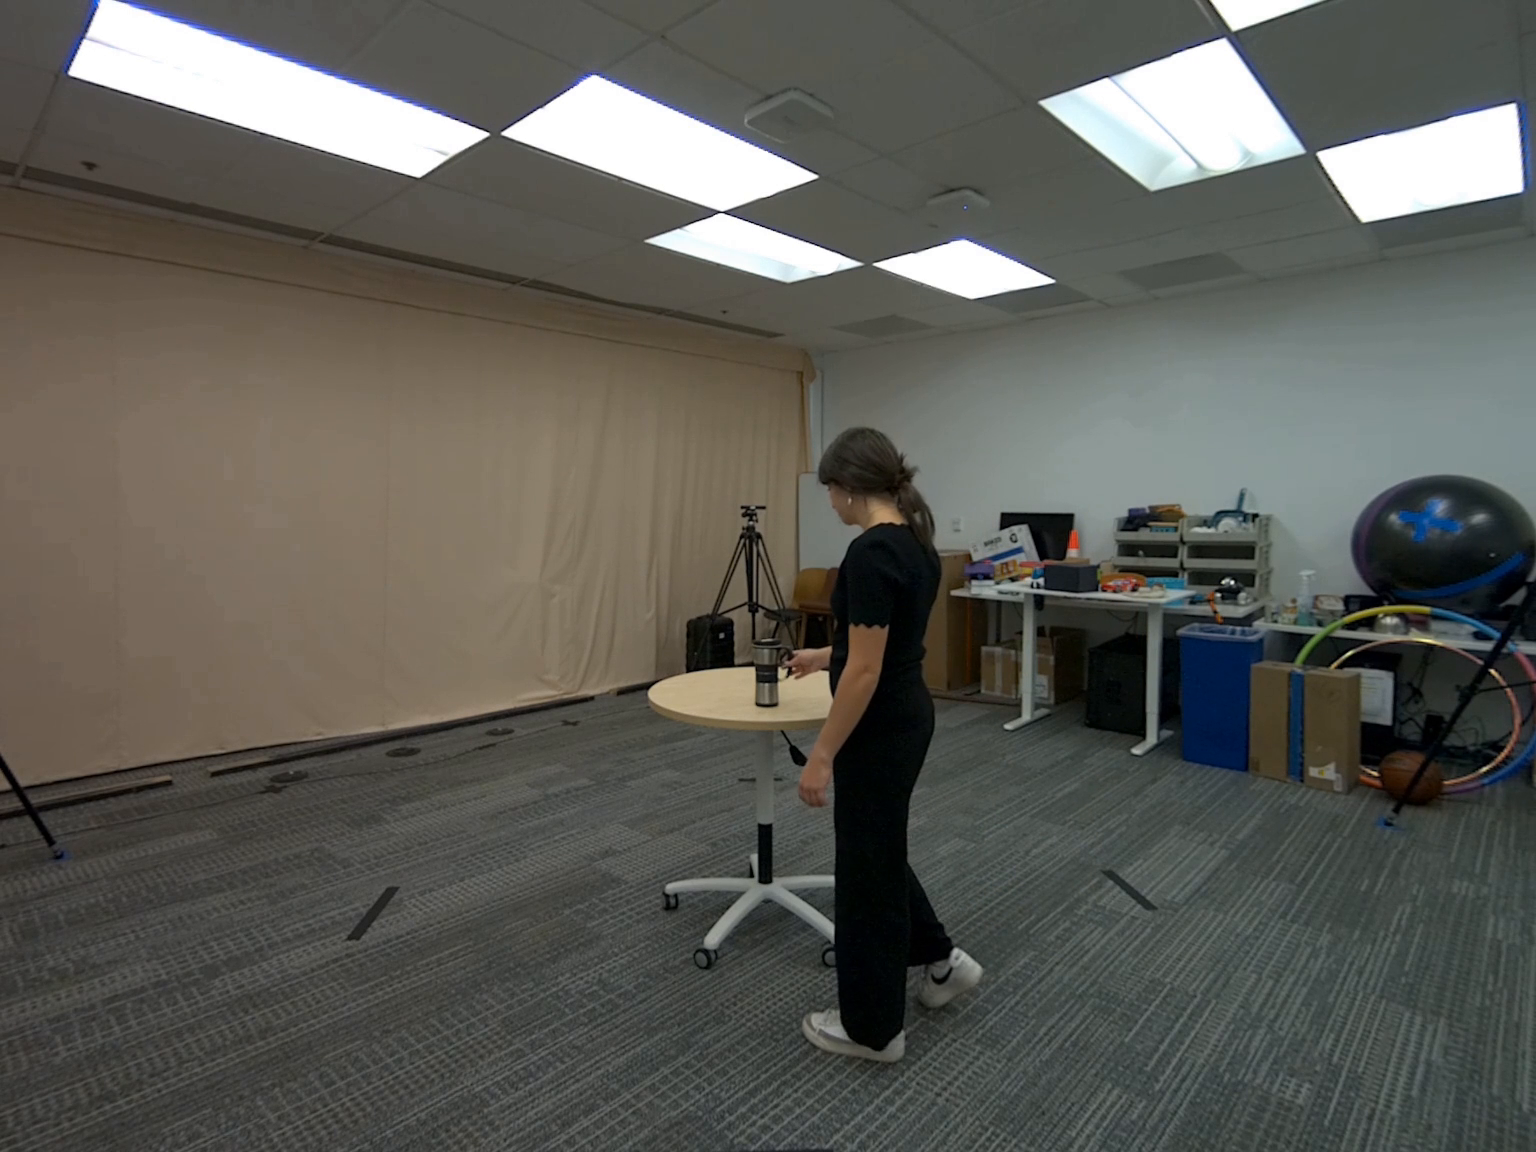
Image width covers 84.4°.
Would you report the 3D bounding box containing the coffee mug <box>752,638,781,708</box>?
[{"bbox_3d":[0.014,0.297,2.557,0.085,0.203,0.126,2,-2,-40],"label":"coffee mug"}]
